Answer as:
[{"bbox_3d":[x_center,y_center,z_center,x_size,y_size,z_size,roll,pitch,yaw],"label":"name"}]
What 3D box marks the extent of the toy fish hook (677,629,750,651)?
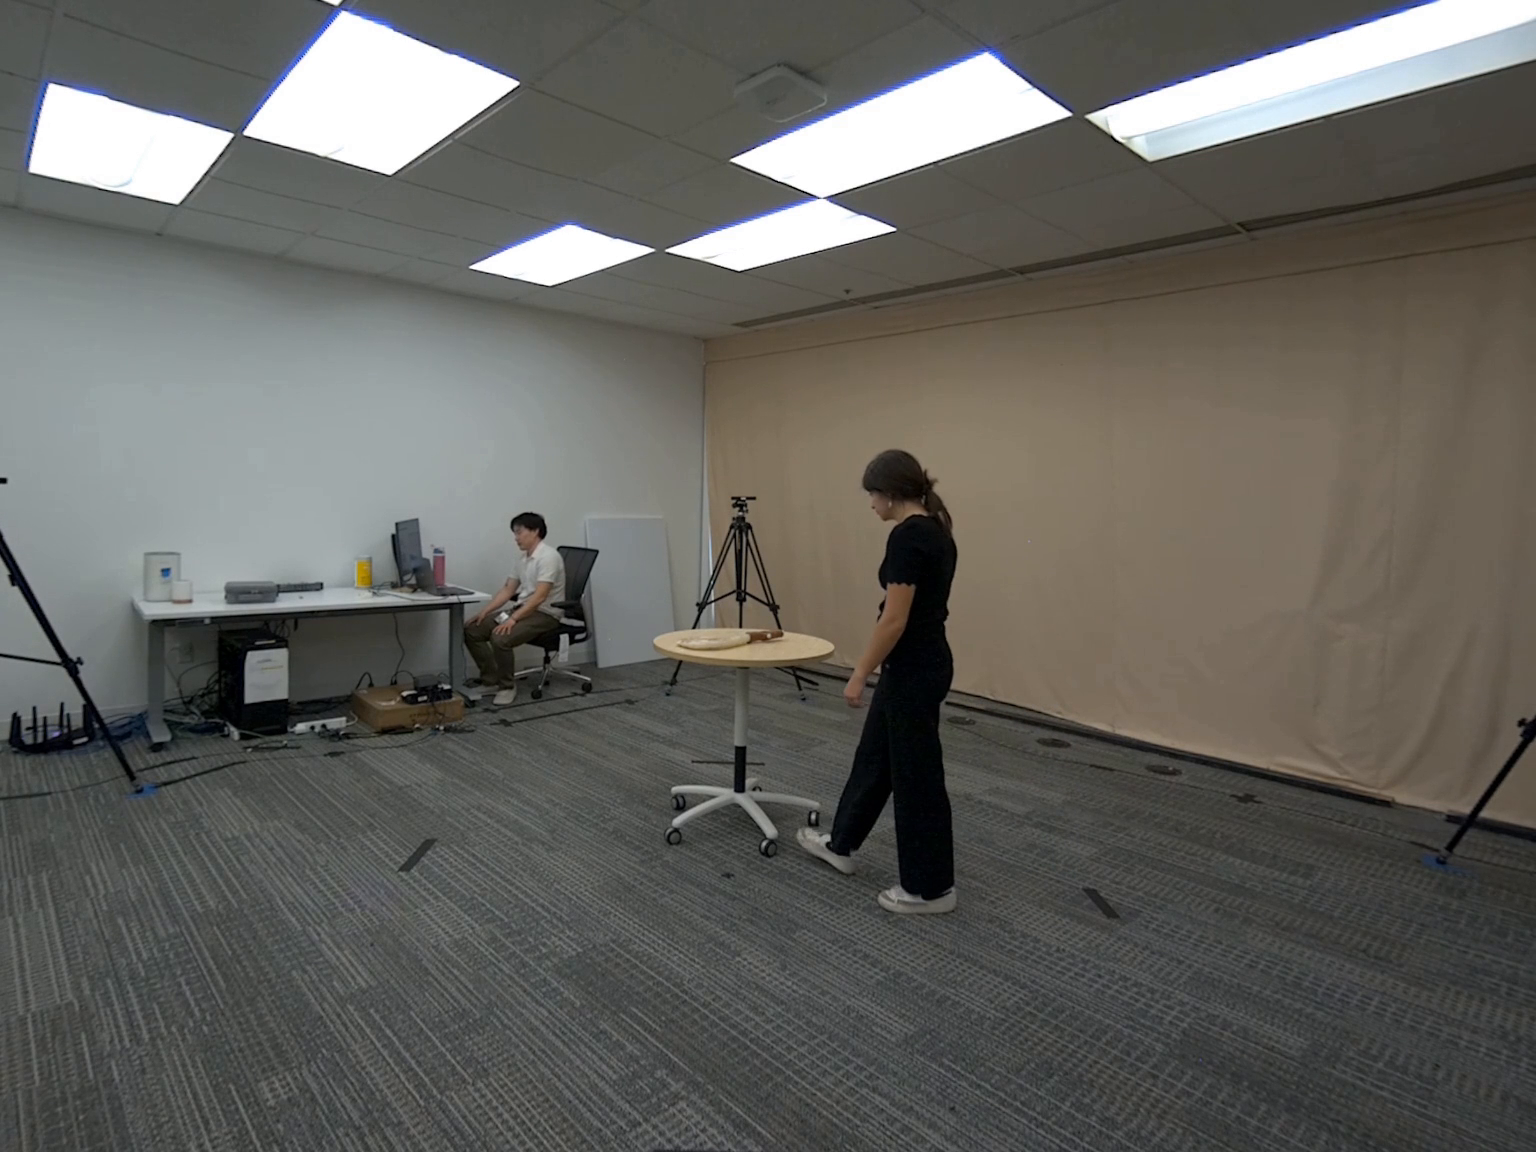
[{"bbox_3d":[-0.167,0.259,3.551,0.495,0.048,0.231,-3,11,-38],"label":"toy fish hook"}]
